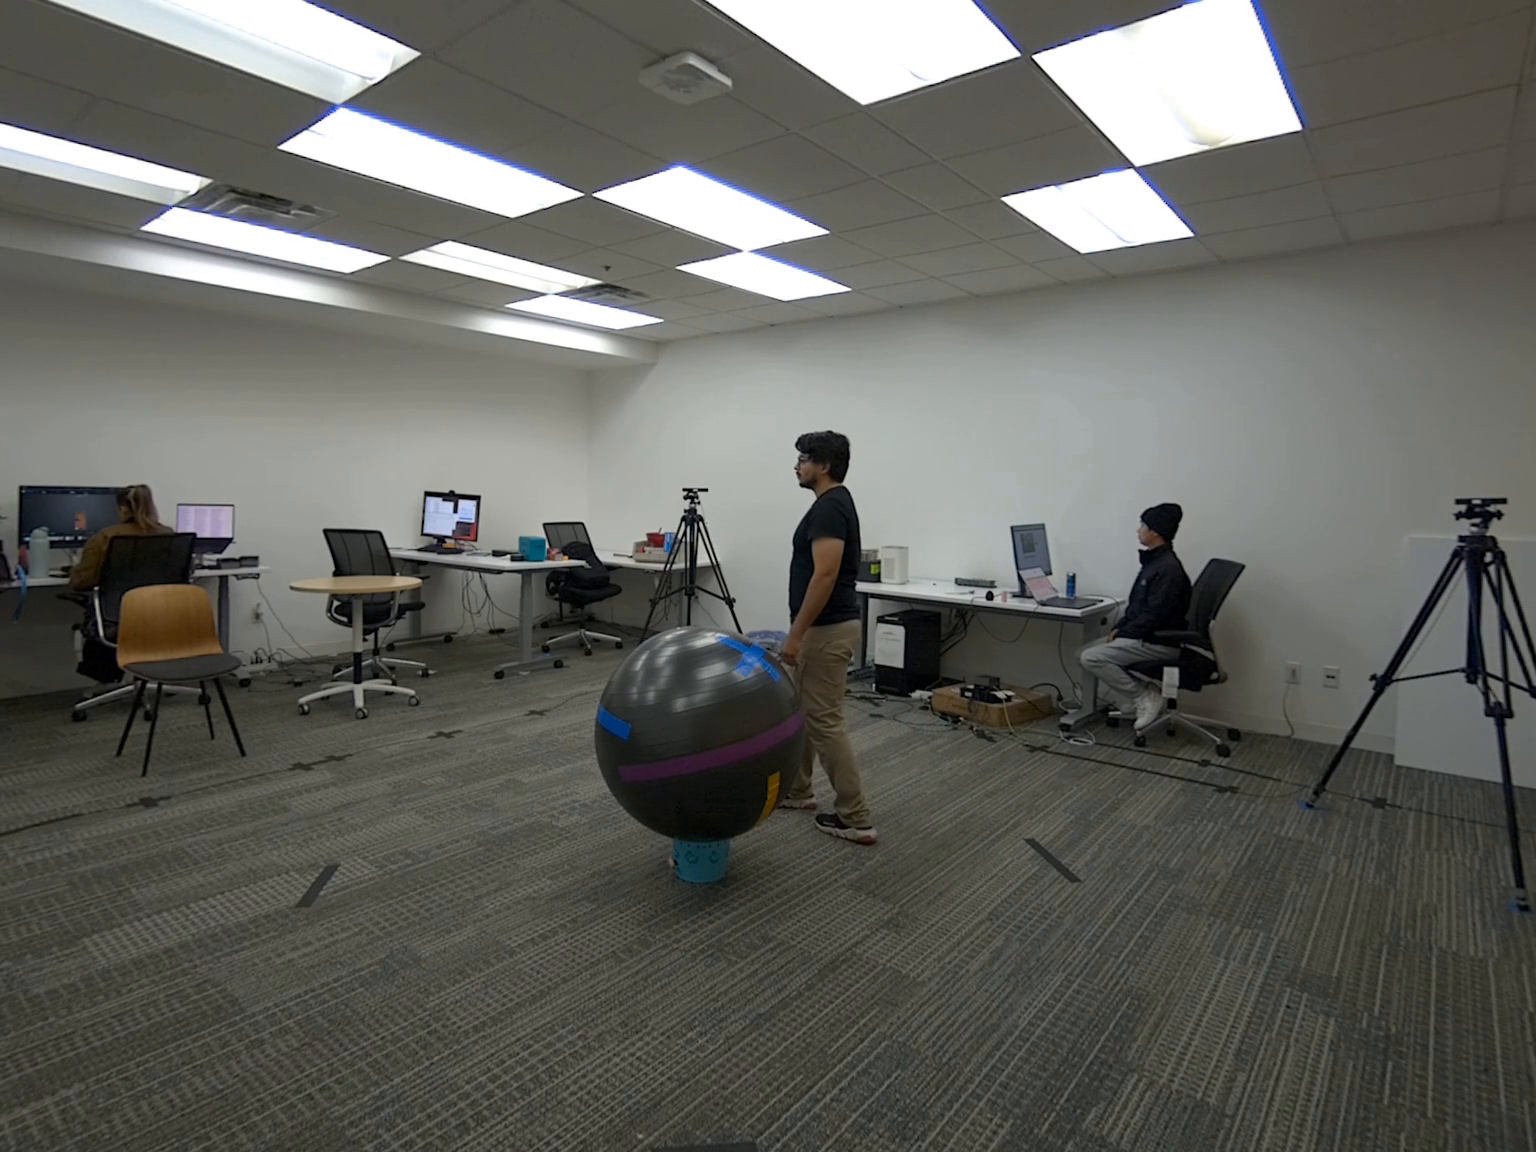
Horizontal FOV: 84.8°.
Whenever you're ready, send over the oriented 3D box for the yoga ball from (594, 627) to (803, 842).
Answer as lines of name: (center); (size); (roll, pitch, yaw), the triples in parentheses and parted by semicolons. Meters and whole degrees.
yoga ball: (-0.262, 0.562, 3.071); (0.757, 0.756, 0.762); (1, 4, -2)
